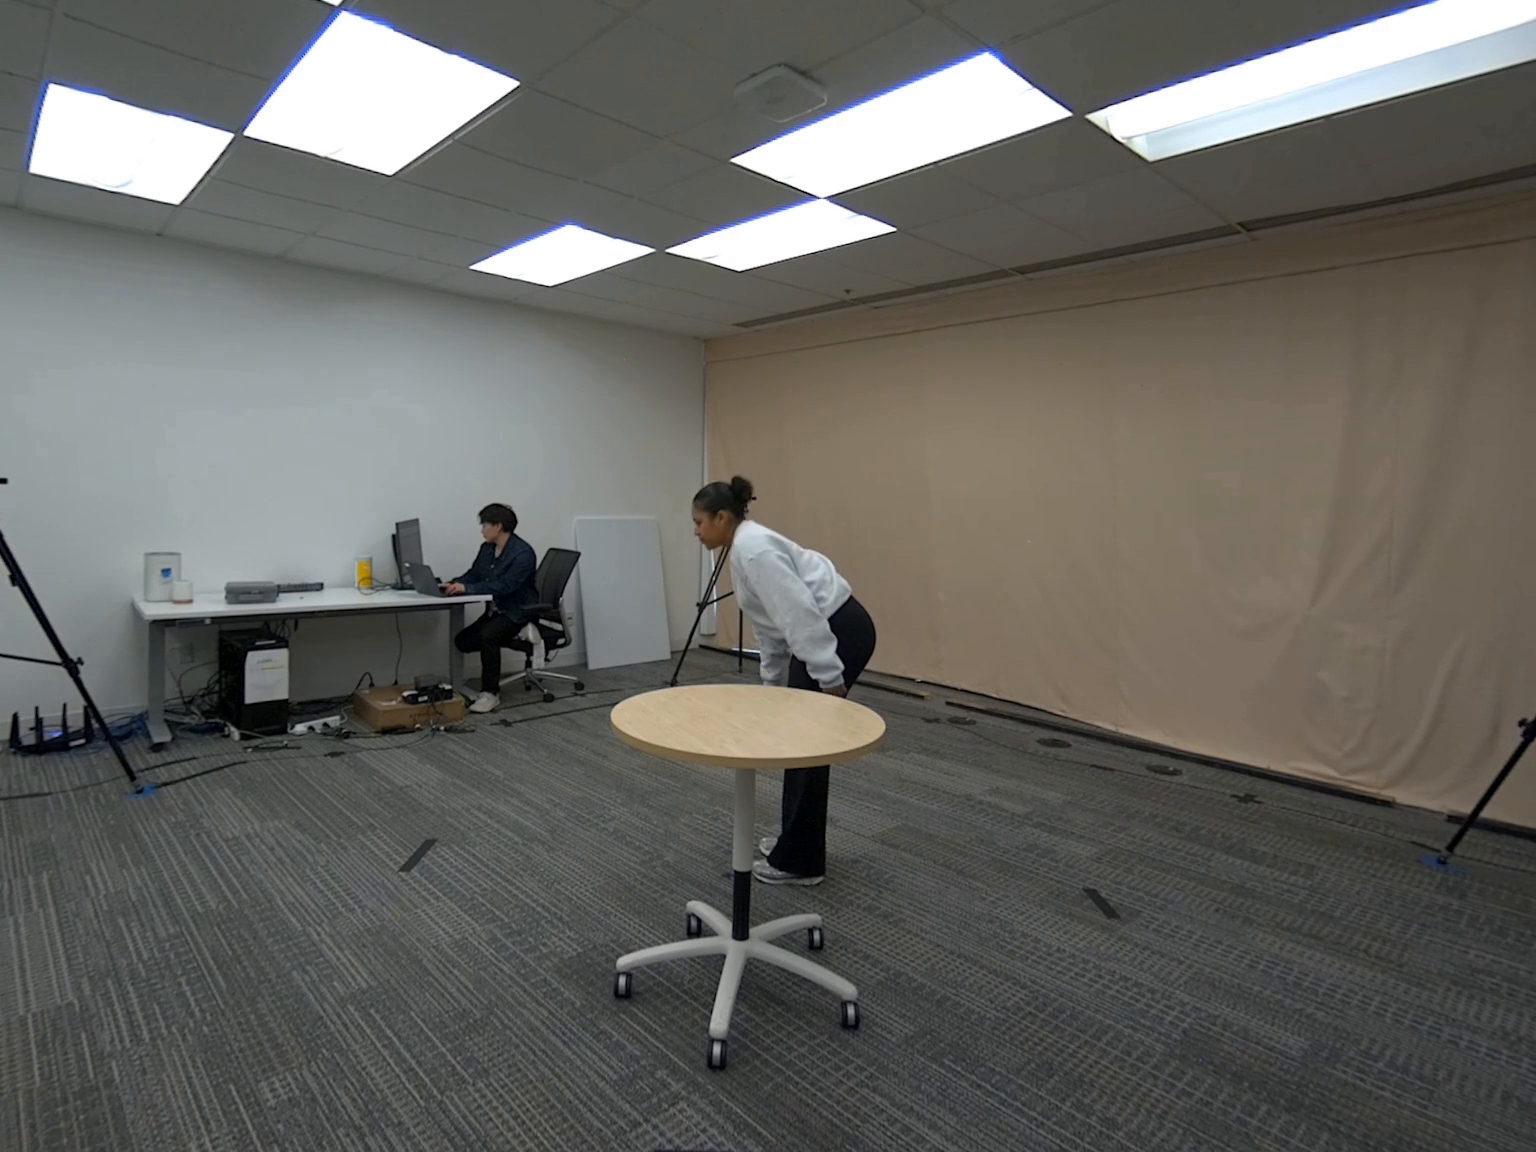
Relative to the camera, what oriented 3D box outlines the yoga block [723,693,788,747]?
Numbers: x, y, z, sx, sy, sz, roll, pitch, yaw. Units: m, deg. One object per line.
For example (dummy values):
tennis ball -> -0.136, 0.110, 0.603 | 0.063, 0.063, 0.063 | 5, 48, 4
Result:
yoga block -> -0.053, 0.588, 3.468 | 0.229, 0.148, 0.077 | -13, 9, -4
